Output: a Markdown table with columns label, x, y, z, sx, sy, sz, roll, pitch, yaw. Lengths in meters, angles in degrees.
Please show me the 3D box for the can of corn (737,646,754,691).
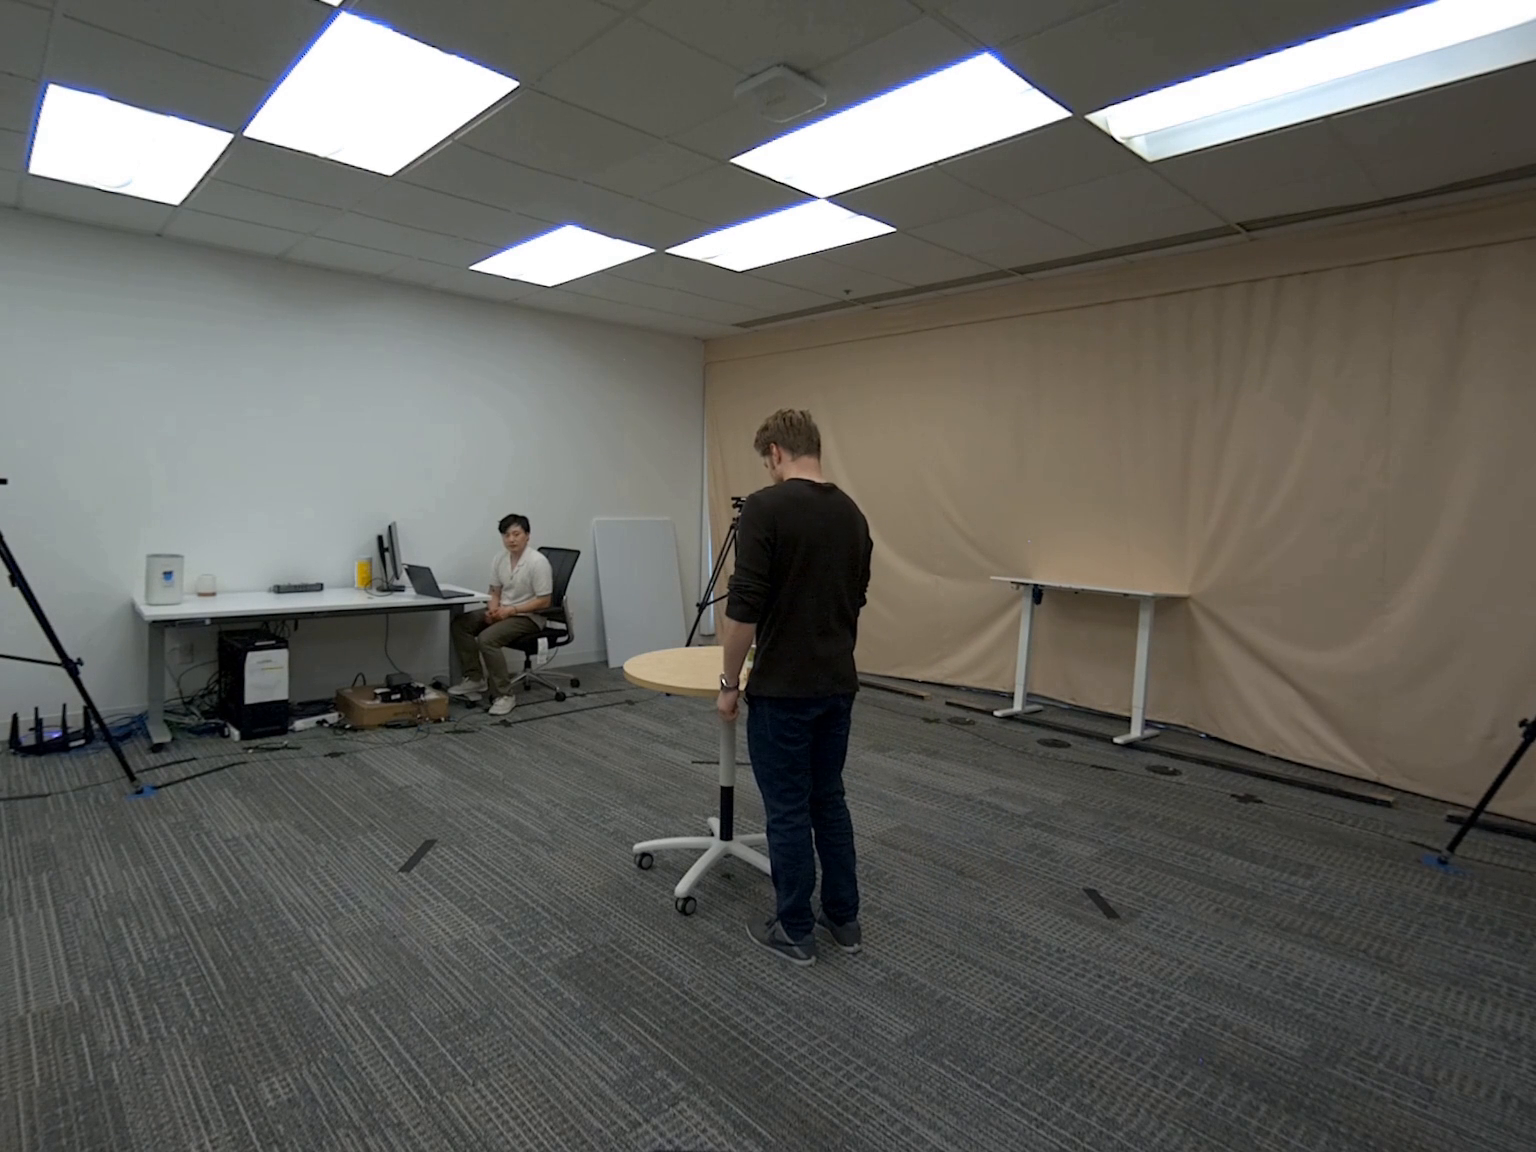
| label | x | y | z | sx | sy | sz | roll | pitch | yaw |
| --- | --- | --- | --- | --- | --- | --- | --- | --- | --- |
| can of corn | -0.041 | 0.294 | 2.831 | 0.074 | 0.110 | 0.074 | 1 | 5 | -1 |
